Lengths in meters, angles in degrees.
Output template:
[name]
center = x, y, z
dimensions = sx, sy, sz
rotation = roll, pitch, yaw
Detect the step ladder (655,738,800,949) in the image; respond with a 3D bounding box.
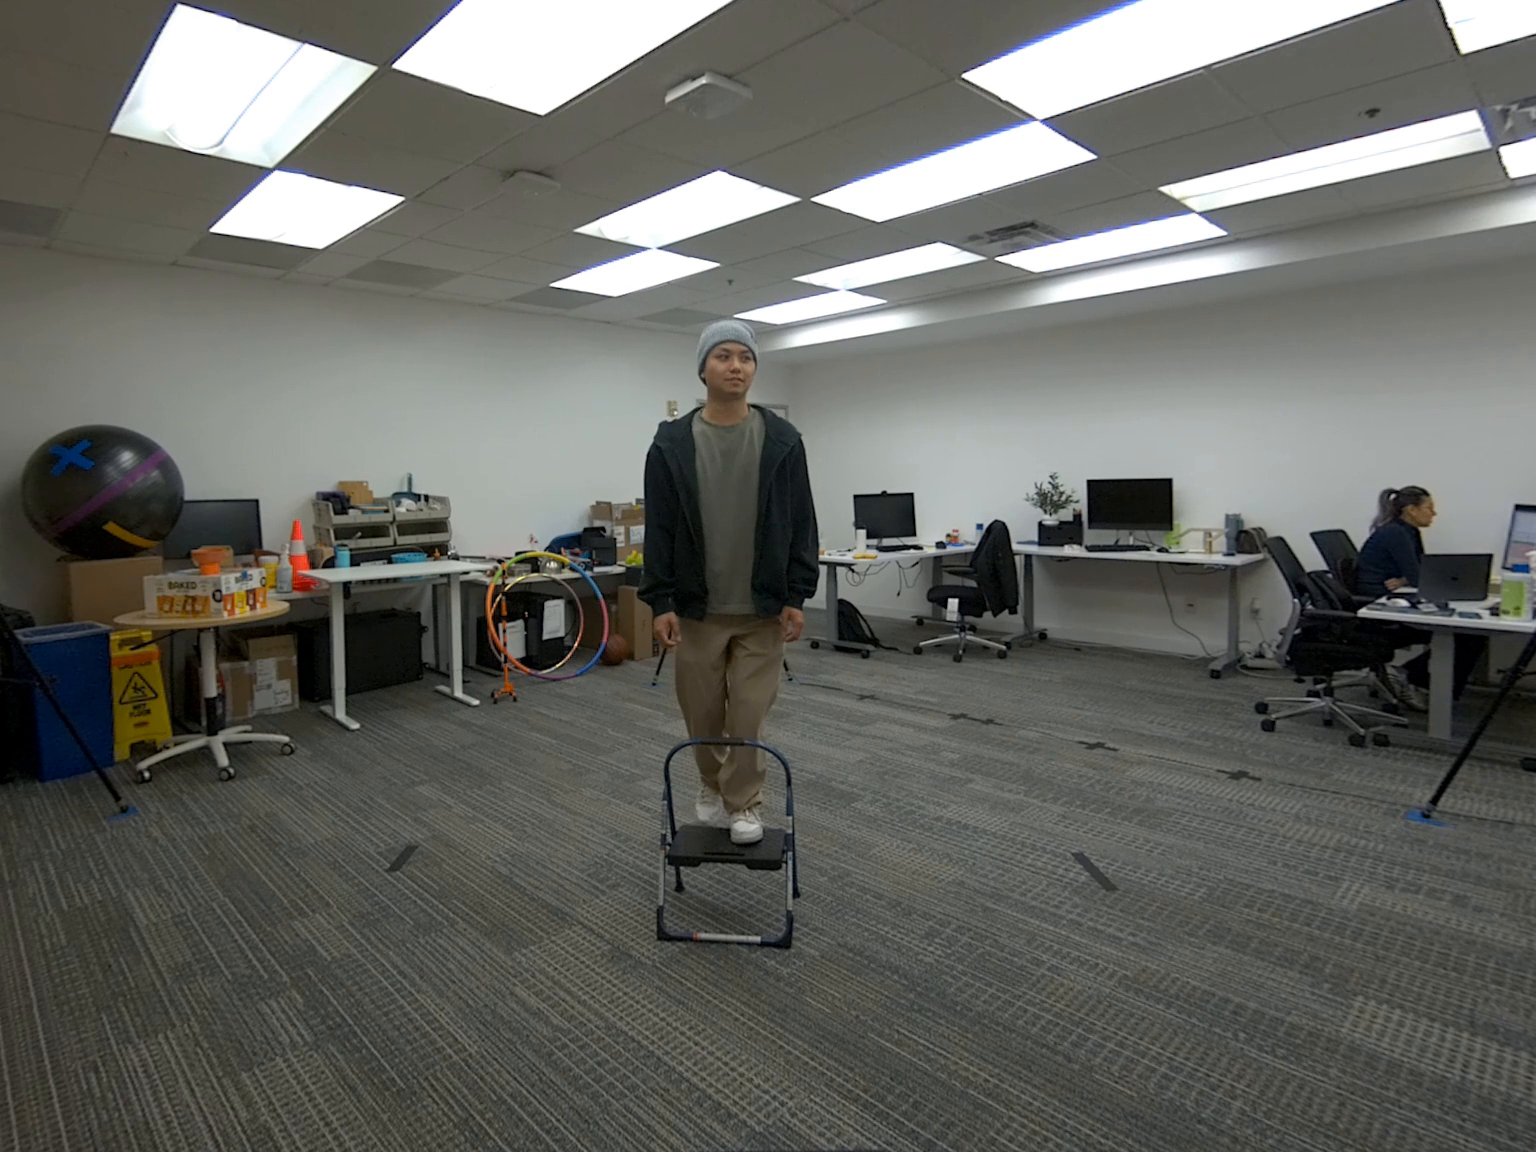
[step ladder]
center = -0.121, 0.794, 2.718
dimensions = 0.434, 0.604, 0.348
rotation = 0, 4, 6
